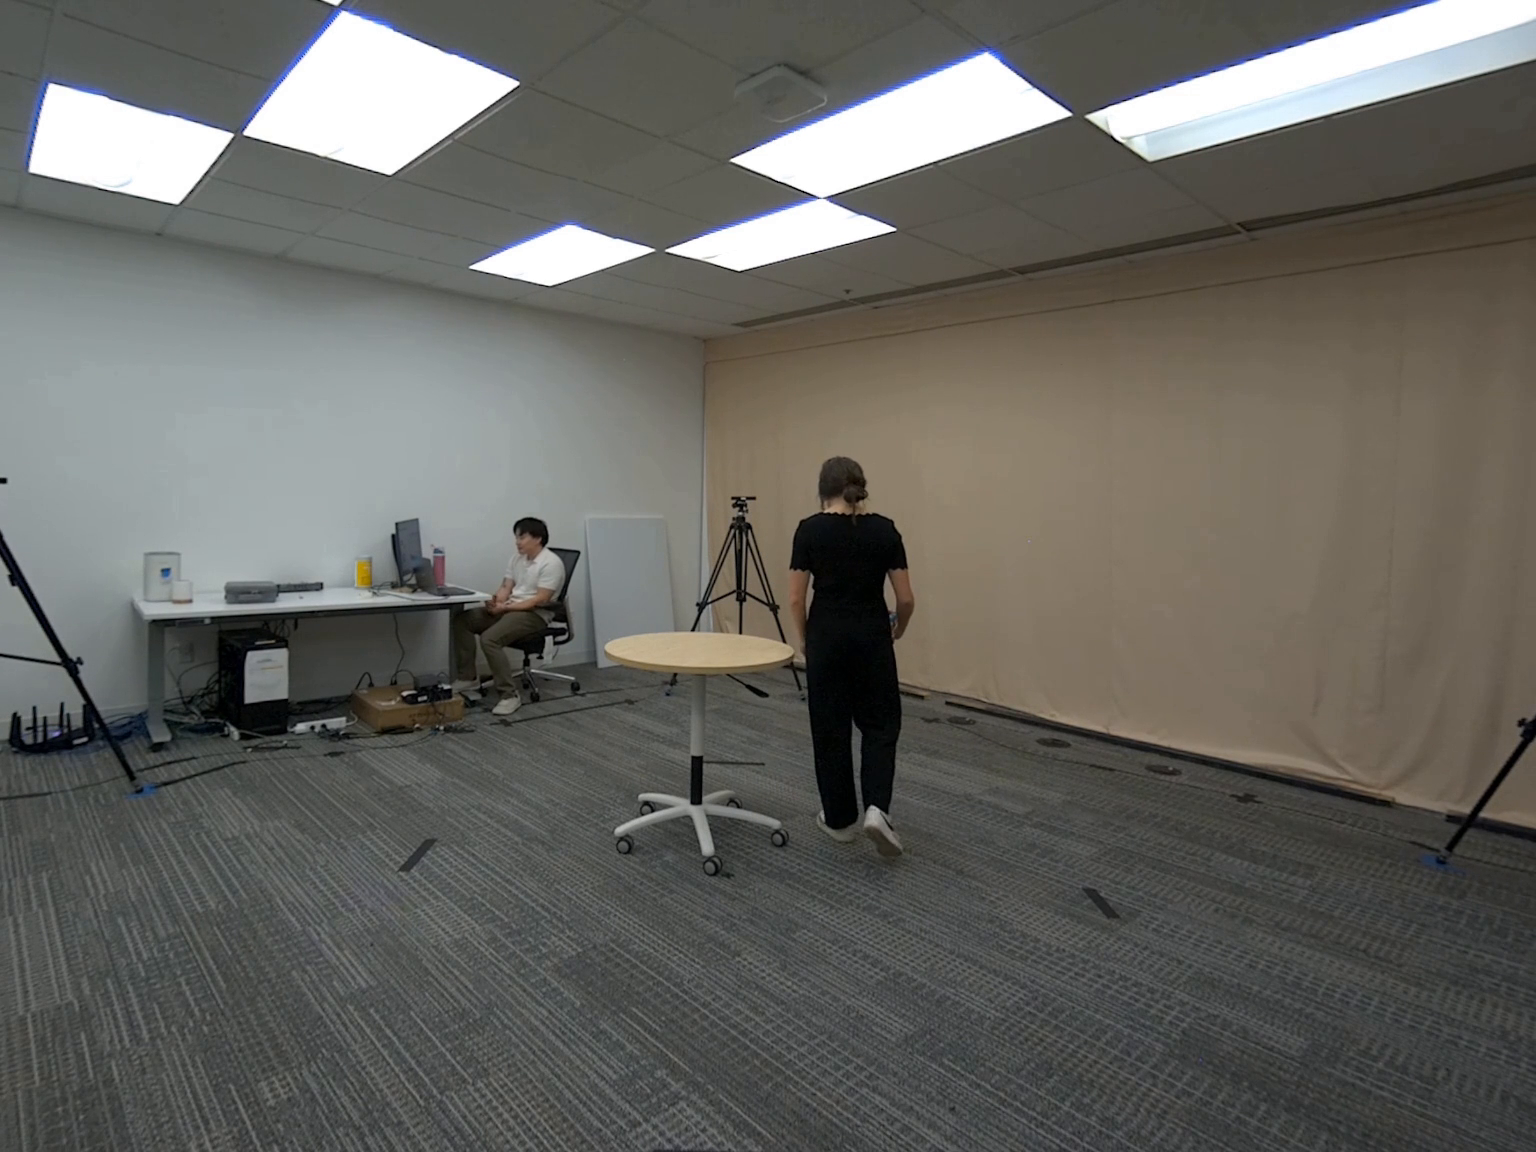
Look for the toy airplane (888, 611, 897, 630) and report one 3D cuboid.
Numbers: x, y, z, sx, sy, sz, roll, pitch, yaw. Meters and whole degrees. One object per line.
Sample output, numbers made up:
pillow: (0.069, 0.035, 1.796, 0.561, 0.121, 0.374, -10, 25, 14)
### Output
toy airplane: (0.428, 0.194, 3.659, 0.262, 0.156, 0.249, 27, 5, 8)
